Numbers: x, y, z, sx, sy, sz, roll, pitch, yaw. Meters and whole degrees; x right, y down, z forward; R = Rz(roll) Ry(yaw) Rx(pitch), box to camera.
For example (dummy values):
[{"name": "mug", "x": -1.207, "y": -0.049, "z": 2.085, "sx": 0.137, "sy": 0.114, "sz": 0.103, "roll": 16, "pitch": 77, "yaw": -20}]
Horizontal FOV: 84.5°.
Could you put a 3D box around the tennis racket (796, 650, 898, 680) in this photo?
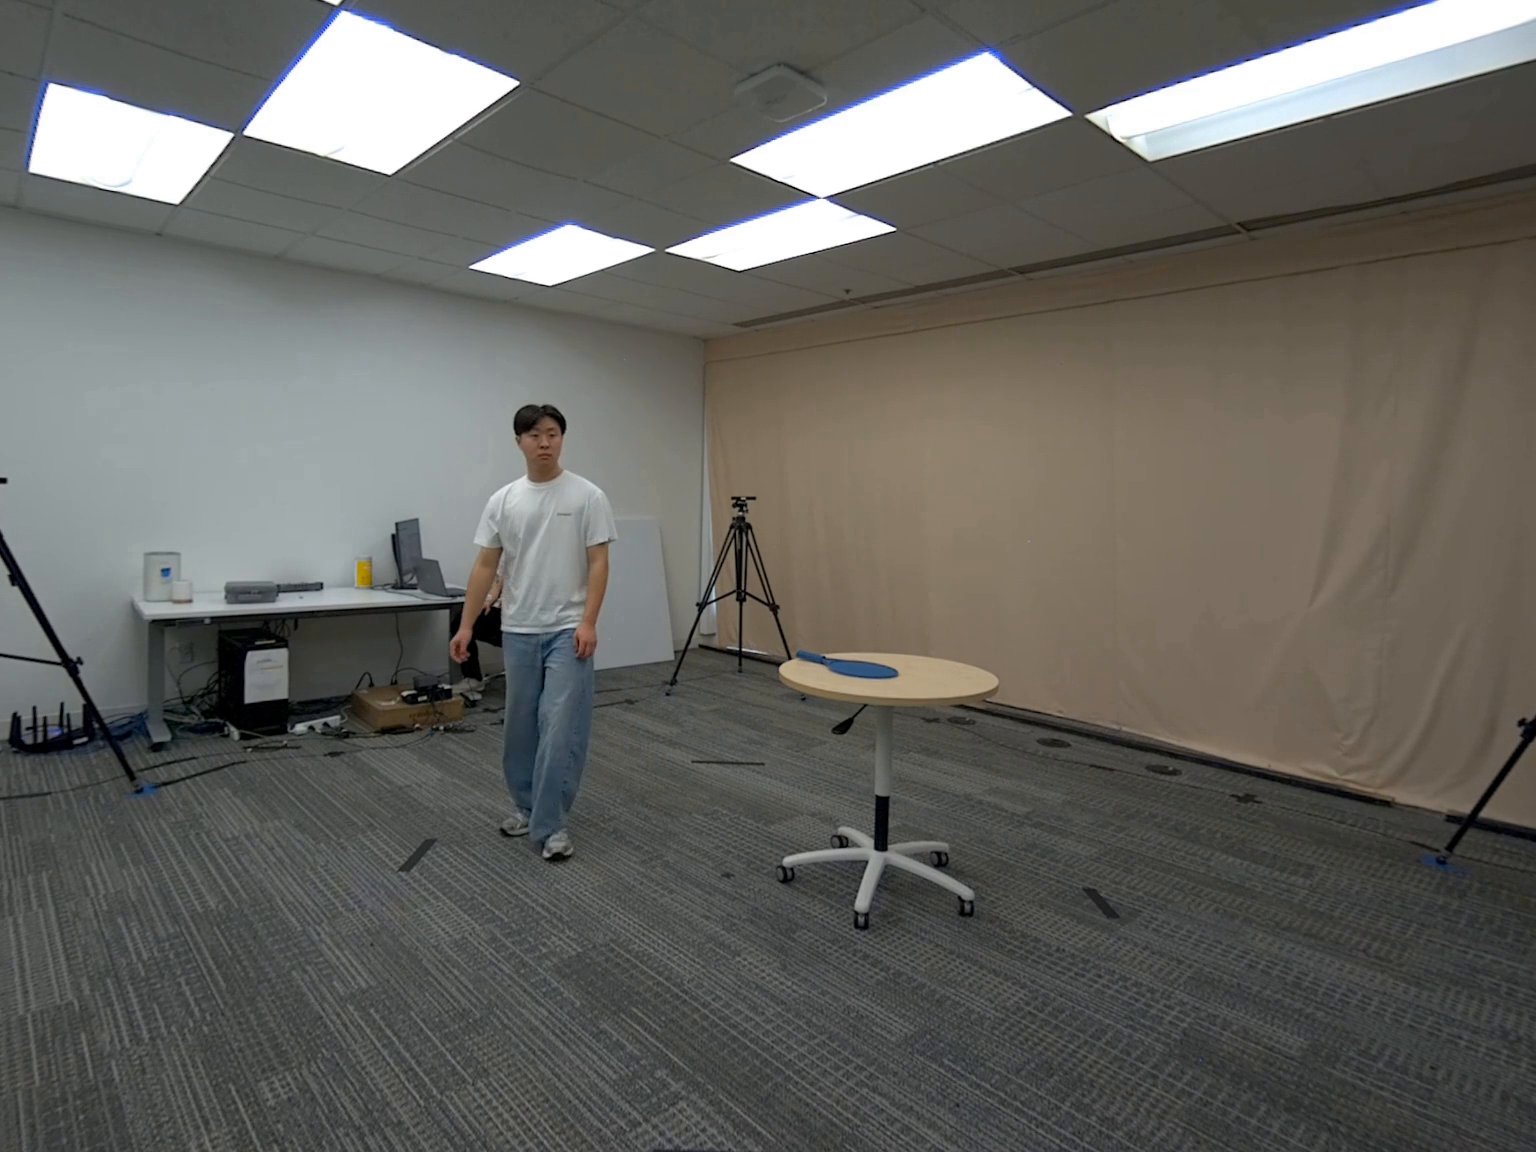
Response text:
[{"name": "tennis racket", "x": 0.276, "y": 0.328, "z": 3.075, "sx": 0.209, "sy": 0.031, "sz": 0.444, "roll": -4, "pitch": 9, "yaw": -45}]
